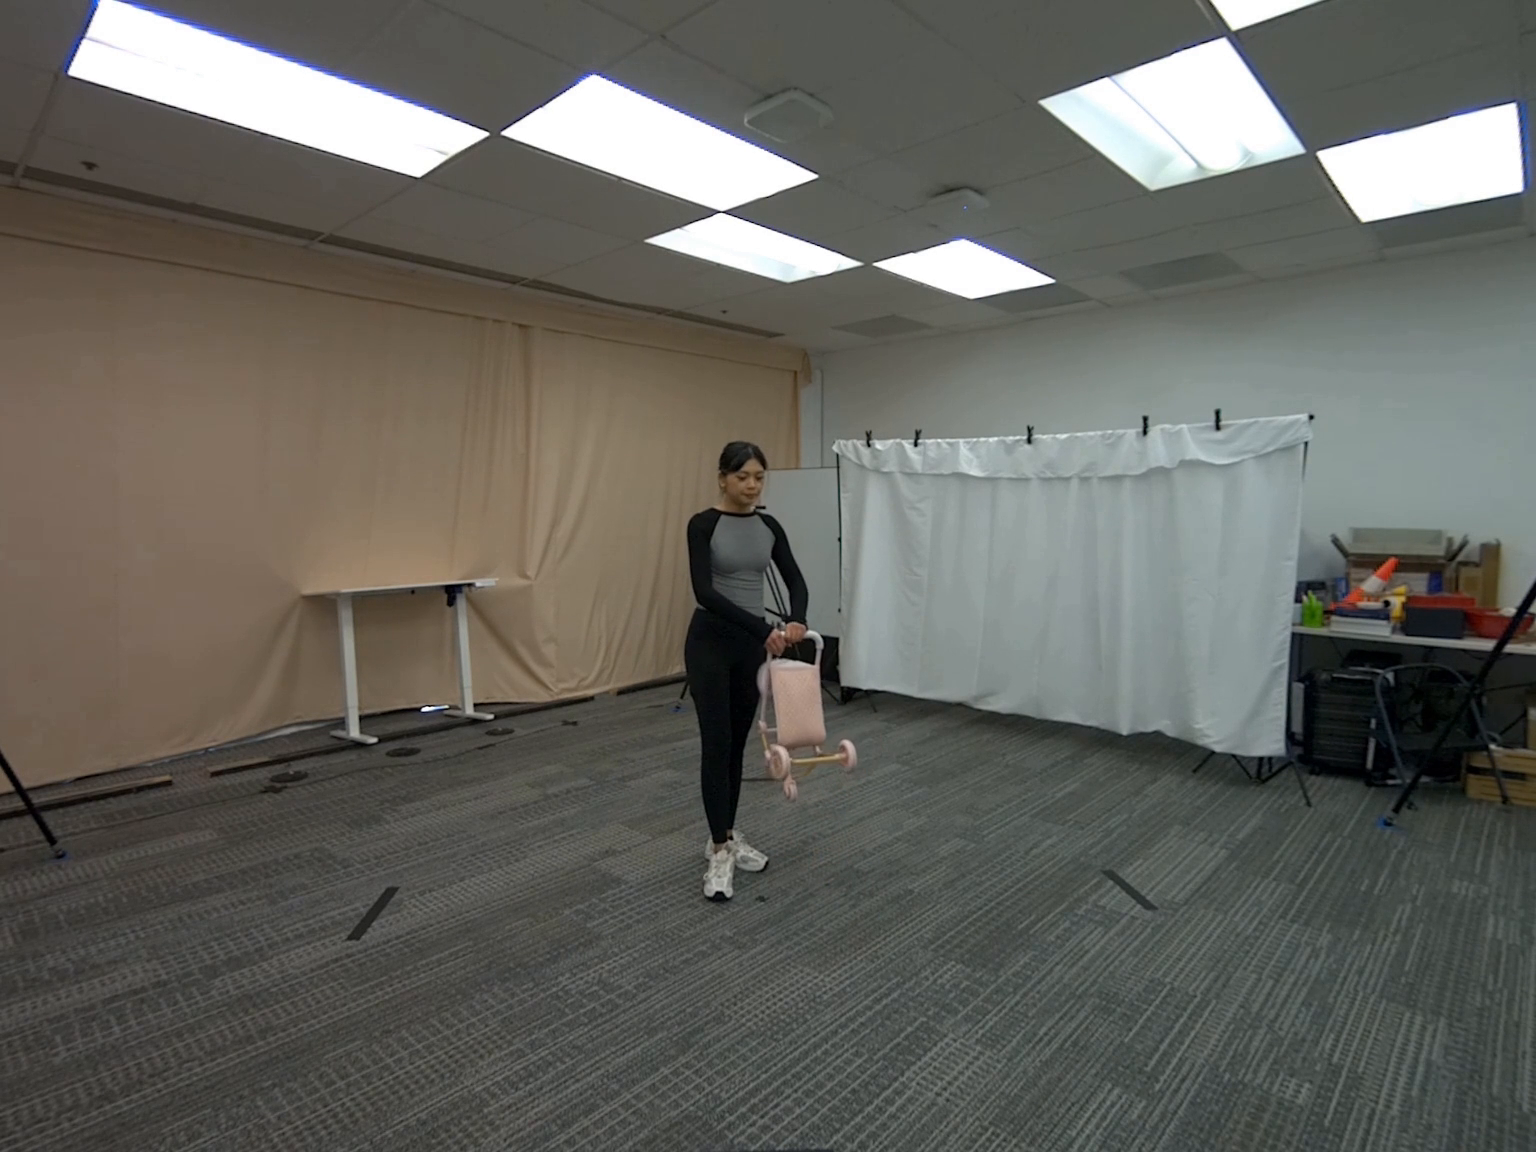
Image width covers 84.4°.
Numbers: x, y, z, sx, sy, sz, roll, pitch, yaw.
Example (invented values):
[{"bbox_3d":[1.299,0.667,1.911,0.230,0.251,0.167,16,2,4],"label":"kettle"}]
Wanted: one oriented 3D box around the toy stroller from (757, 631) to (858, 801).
[{"bbox_3d":[0.097,0.506,2.954,0.276,0.543,0.342,-3,-22,-18],"label":"toy stroller"}]
